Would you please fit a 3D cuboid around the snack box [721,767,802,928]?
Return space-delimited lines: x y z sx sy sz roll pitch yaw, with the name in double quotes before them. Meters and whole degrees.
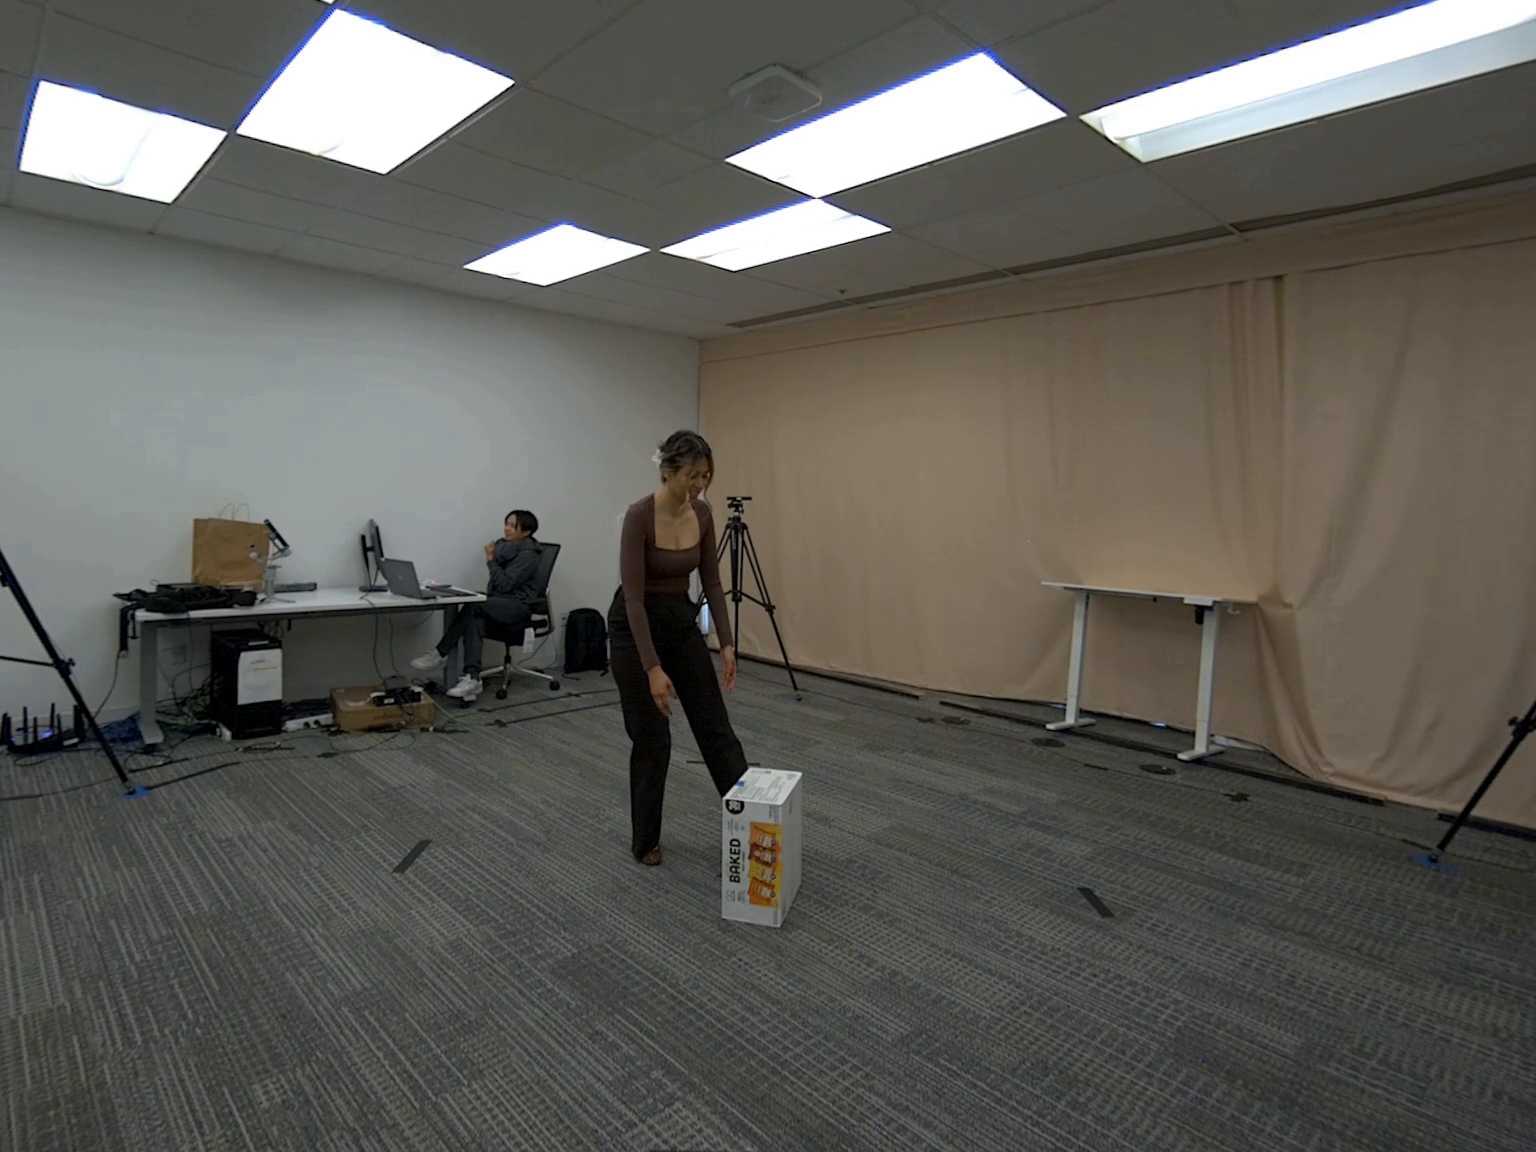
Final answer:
"snack box" -0.020 0.922 2.910 0.208 0.404 0.337 2 3 15
